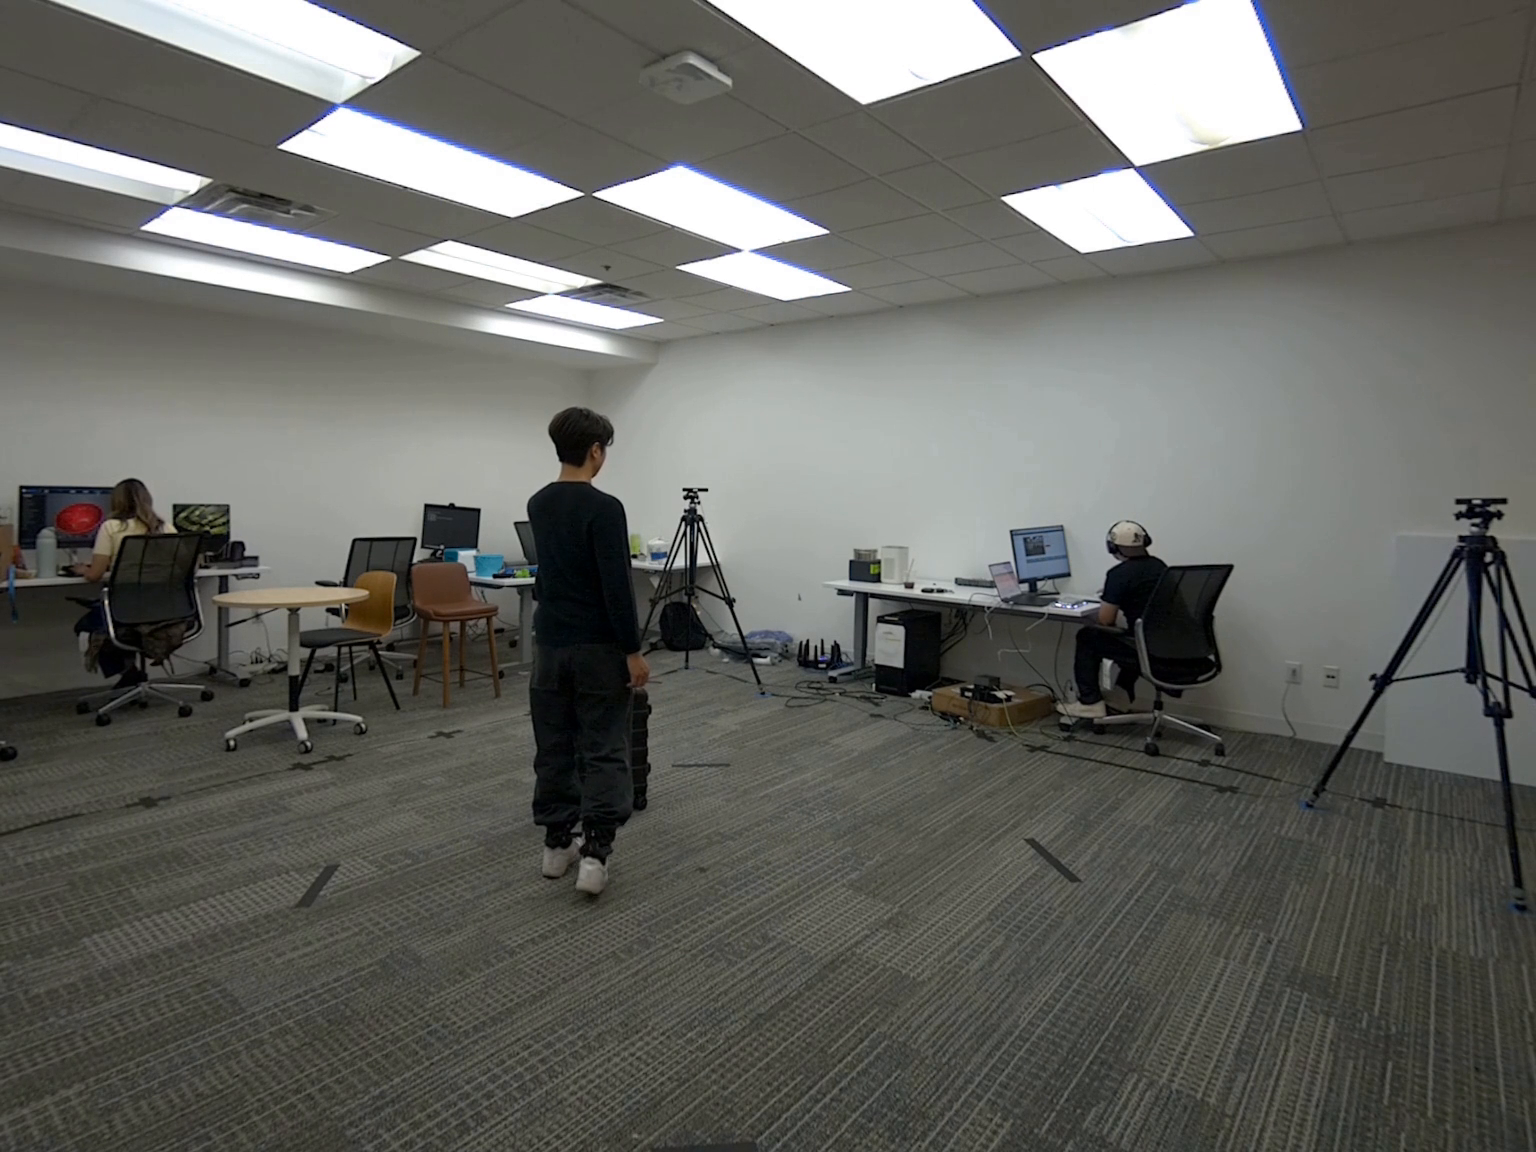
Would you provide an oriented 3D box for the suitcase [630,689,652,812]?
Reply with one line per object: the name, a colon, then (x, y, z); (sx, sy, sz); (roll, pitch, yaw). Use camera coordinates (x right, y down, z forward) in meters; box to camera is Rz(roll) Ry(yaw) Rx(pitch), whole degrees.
suitcase: (-0.731, 0.517, 3.726); (0.374, 0.979, 0.263); (0, -1, -26)
